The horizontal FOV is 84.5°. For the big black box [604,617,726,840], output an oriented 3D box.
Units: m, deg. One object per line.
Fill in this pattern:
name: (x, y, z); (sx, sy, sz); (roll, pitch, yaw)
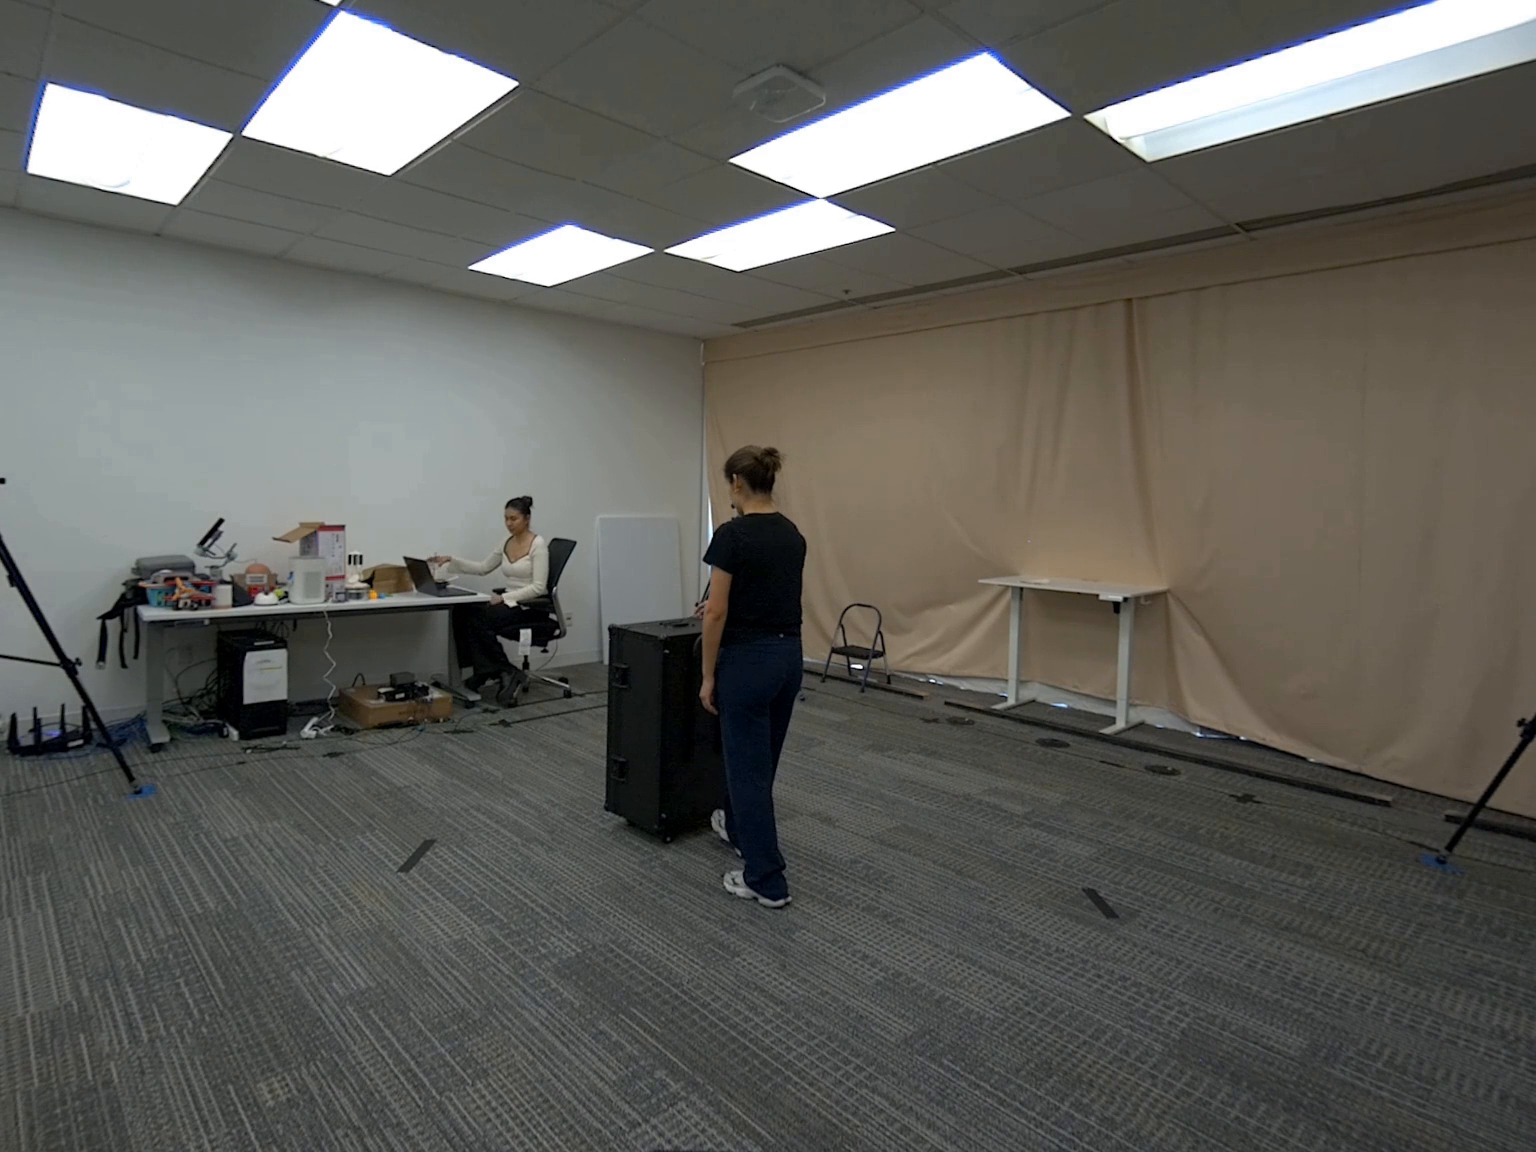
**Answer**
big black box: (-0.381, 0.633, 3.554); (0.406, 0.859, 0.509); (6, 5, 44)
